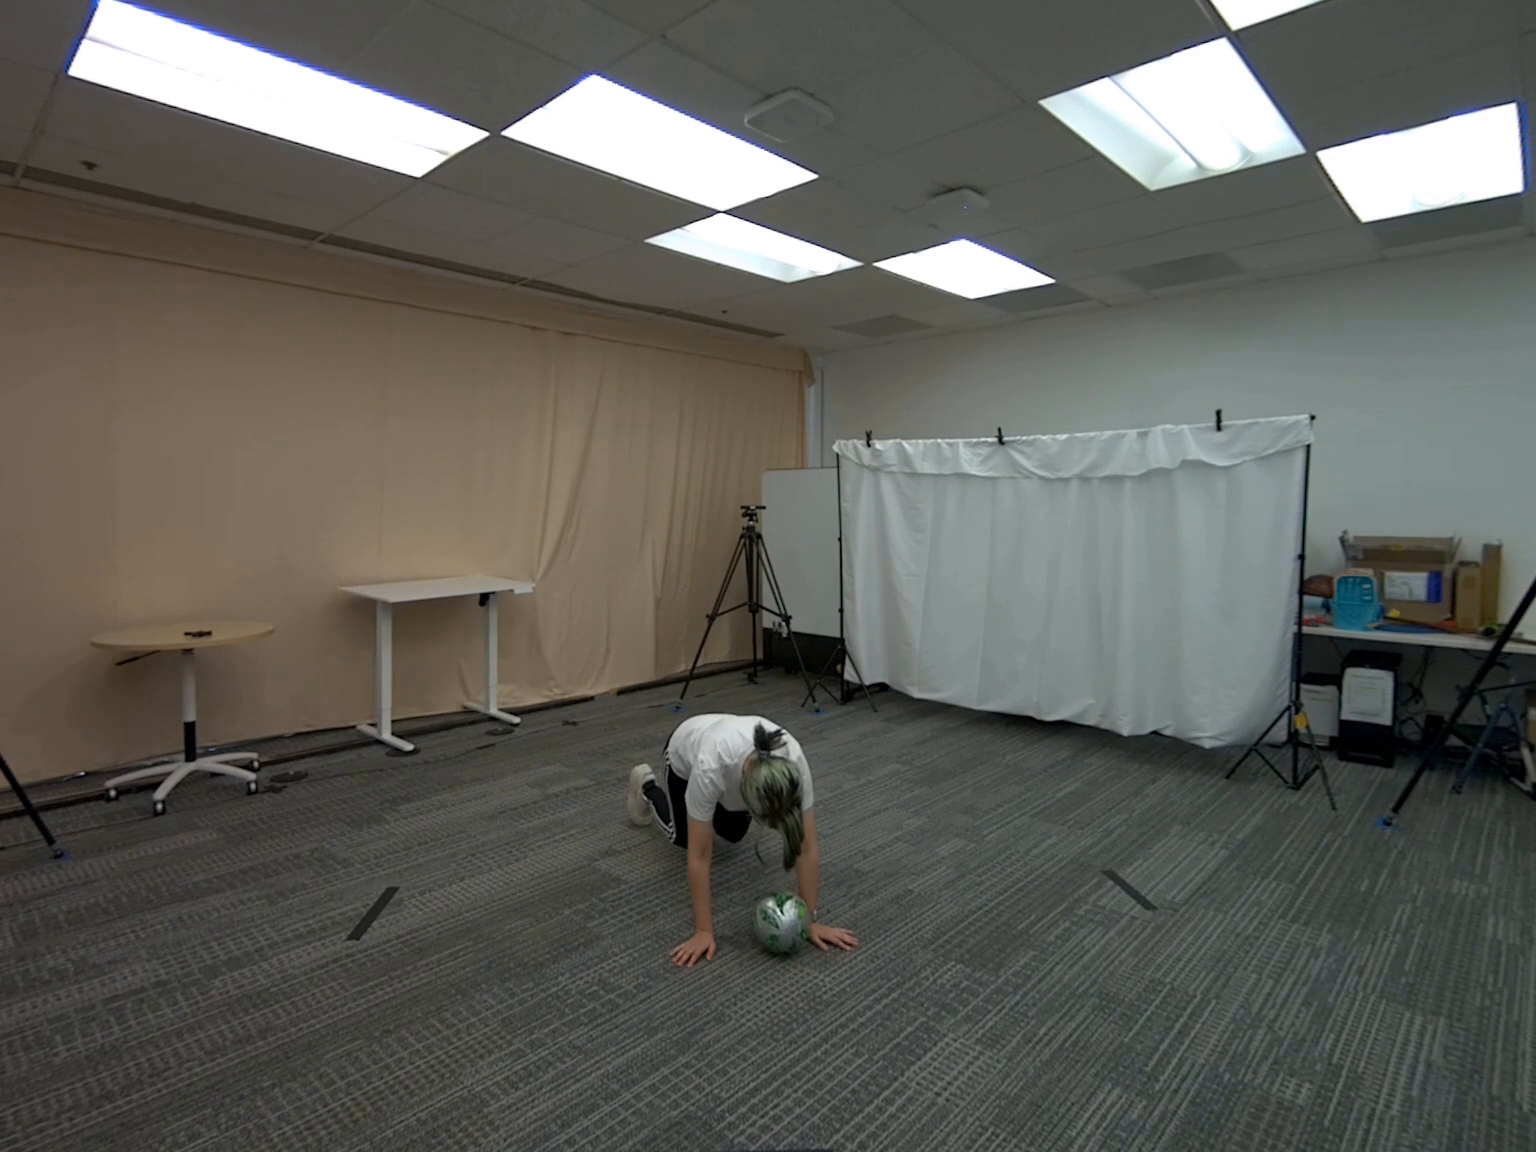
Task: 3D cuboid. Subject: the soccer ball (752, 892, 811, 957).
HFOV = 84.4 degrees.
[{"bbox_3d":[0.045,1.081,2.628,0.187,0.187,0.188,0,4,-2],"label":"soccer ball"}]
